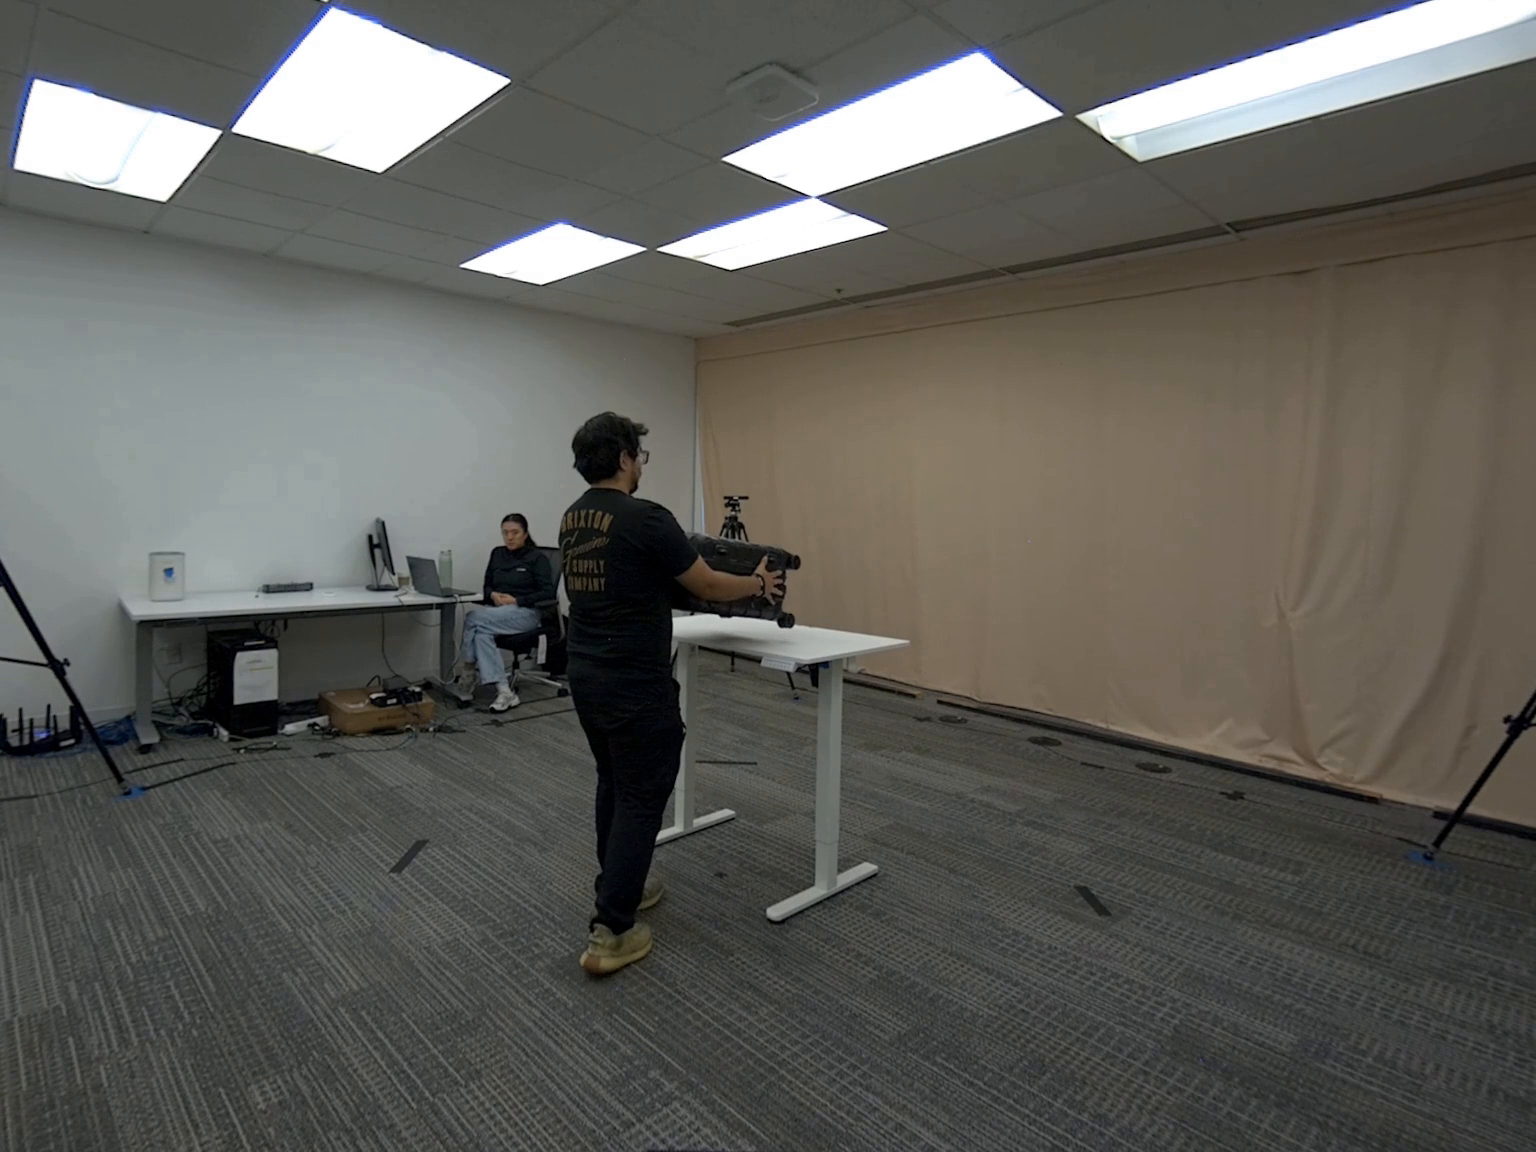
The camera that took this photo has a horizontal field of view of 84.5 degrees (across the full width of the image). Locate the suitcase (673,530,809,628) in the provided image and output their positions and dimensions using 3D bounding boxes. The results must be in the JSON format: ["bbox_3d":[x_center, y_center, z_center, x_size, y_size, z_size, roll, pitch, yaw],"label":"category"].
[{"bbox_3d":[-0.193,0.003,2.925,0.385,0.249,0.534,7,-3,41],"label":"suitcase"}]
